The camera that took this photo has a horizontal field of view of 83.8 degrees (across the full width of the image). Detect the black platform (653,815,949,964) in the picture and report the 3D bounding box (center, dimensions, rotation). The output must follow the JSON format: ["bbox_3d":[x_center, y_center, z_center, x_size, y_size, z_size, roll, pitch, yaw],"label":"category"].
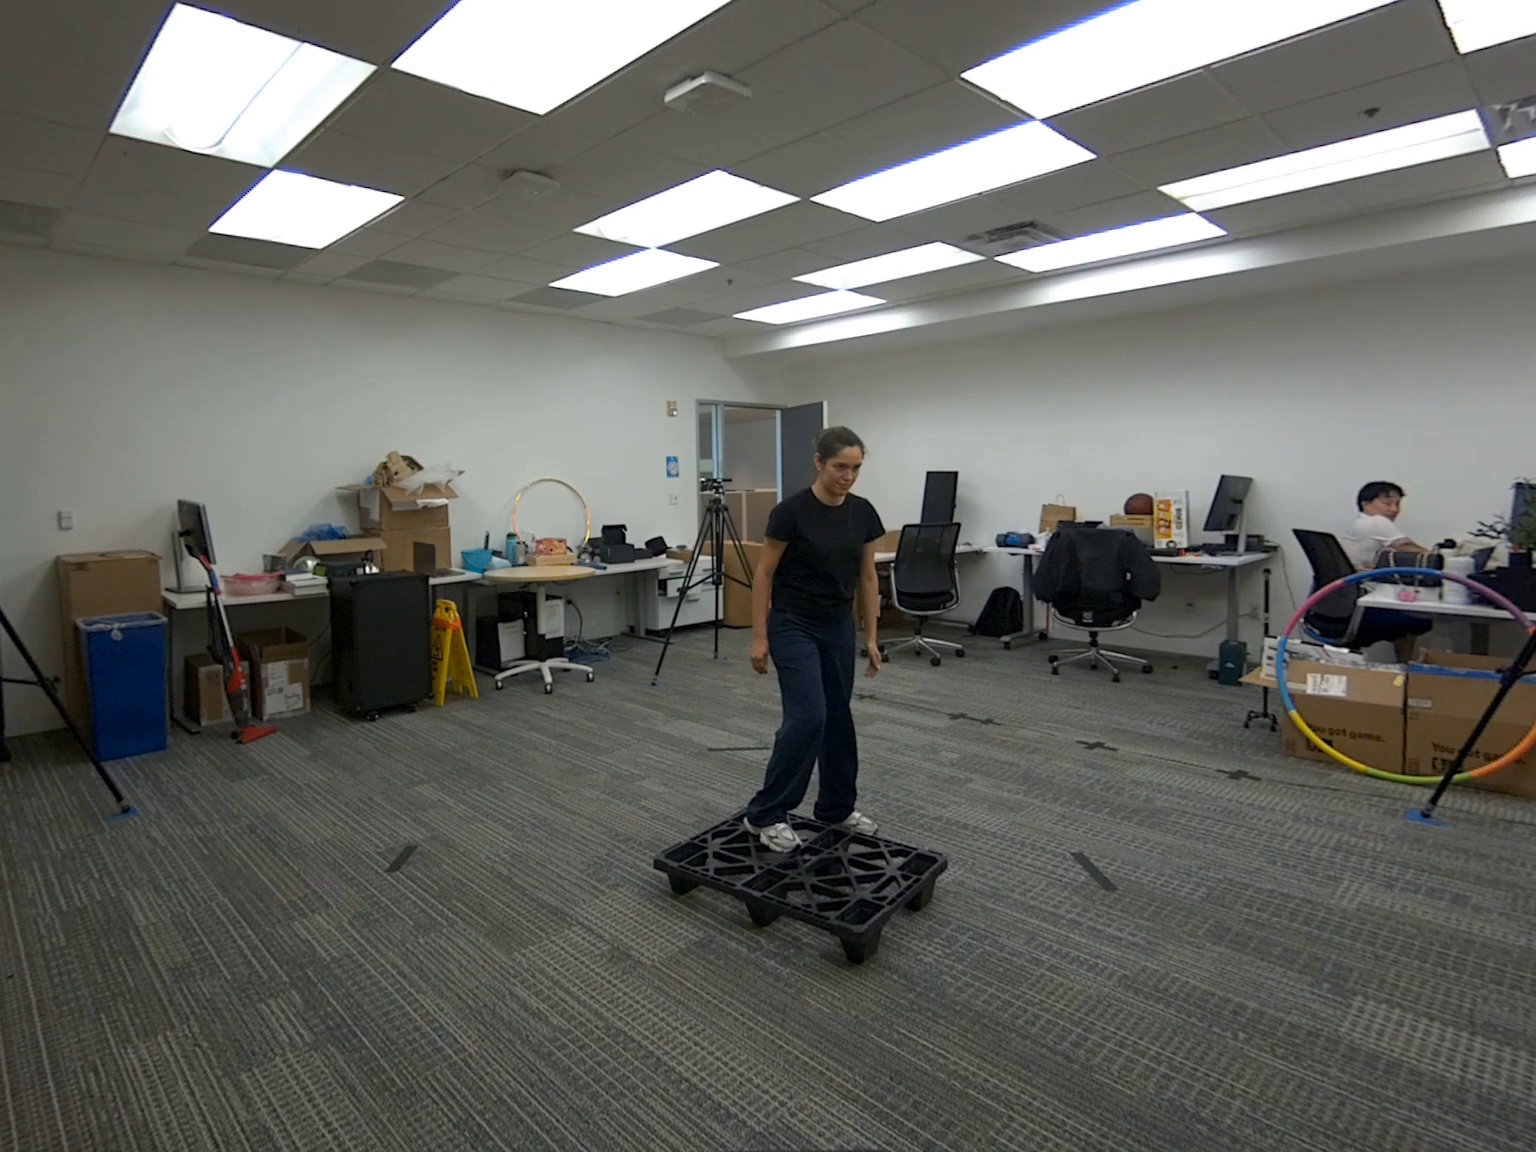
[{"bbox_3d":[0.104,1.002,2.873,0.829,0.143,0.590,4,8,37],"label":"black platform"}]
